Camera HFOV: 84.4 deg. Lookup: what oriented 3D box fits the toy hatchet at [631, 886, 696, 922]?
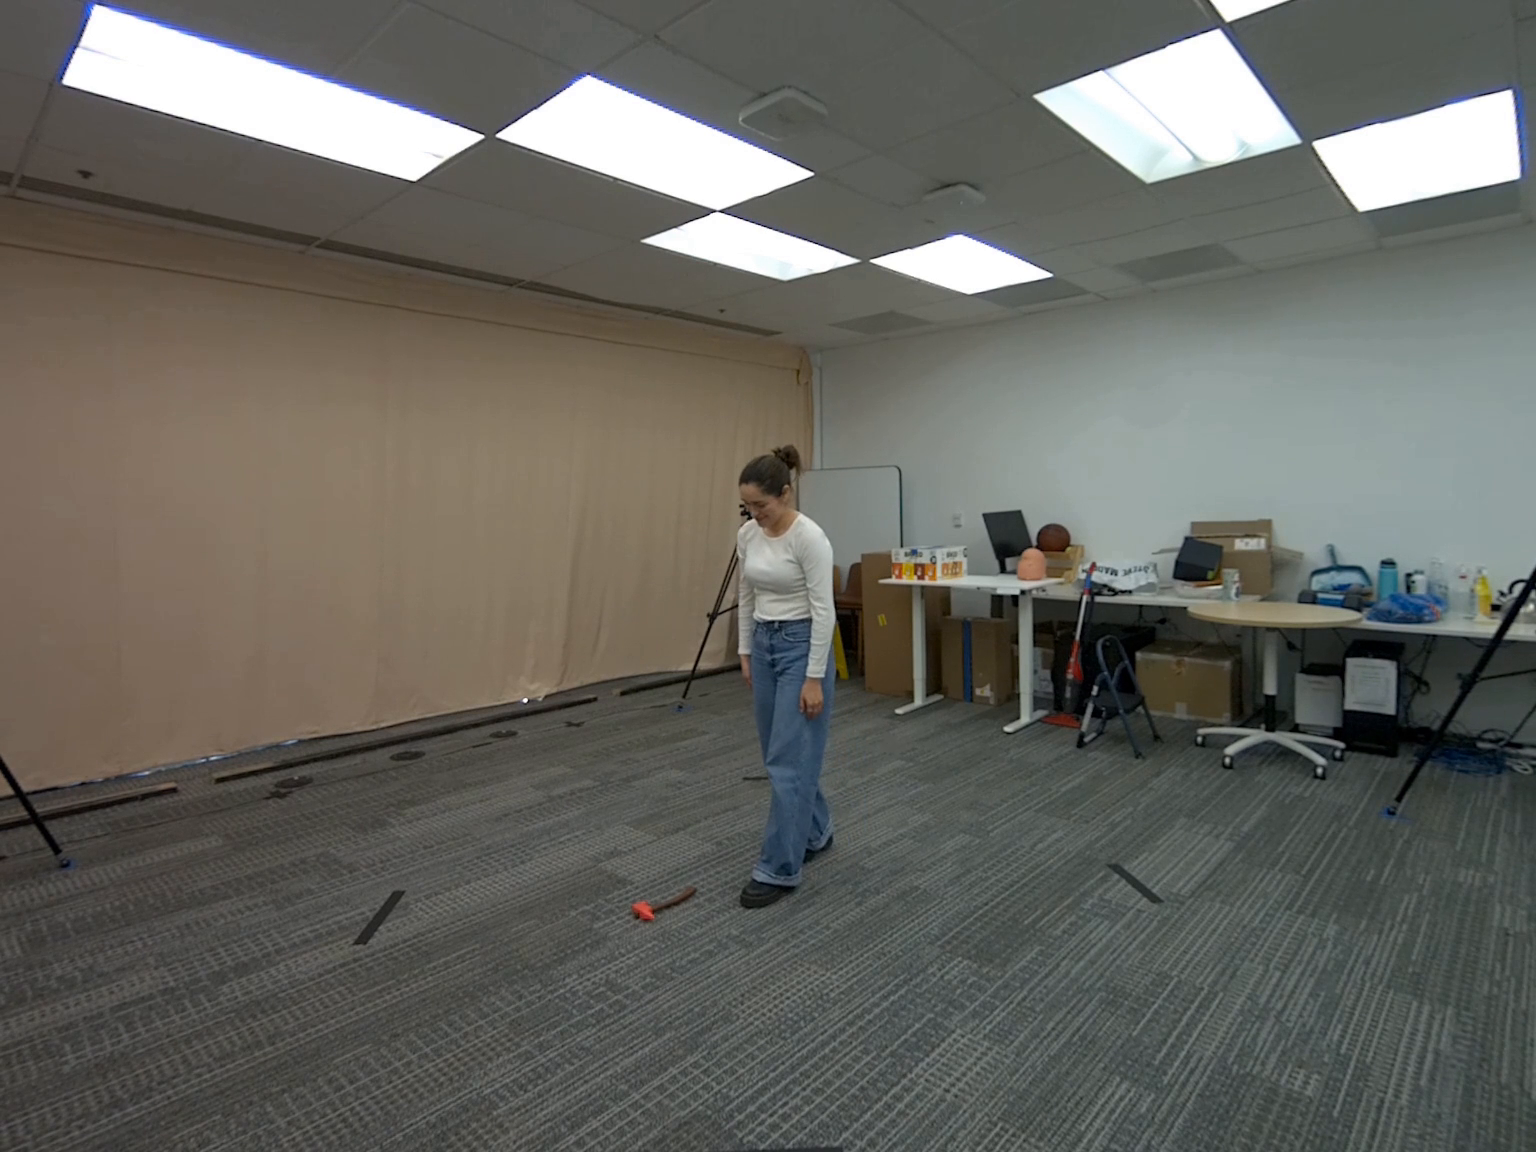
[{"bbox_3d":[-0.375,1.139,2.954,0.135,0.029,0.263,-2,1,31],"label":"toy hatchet"}]
